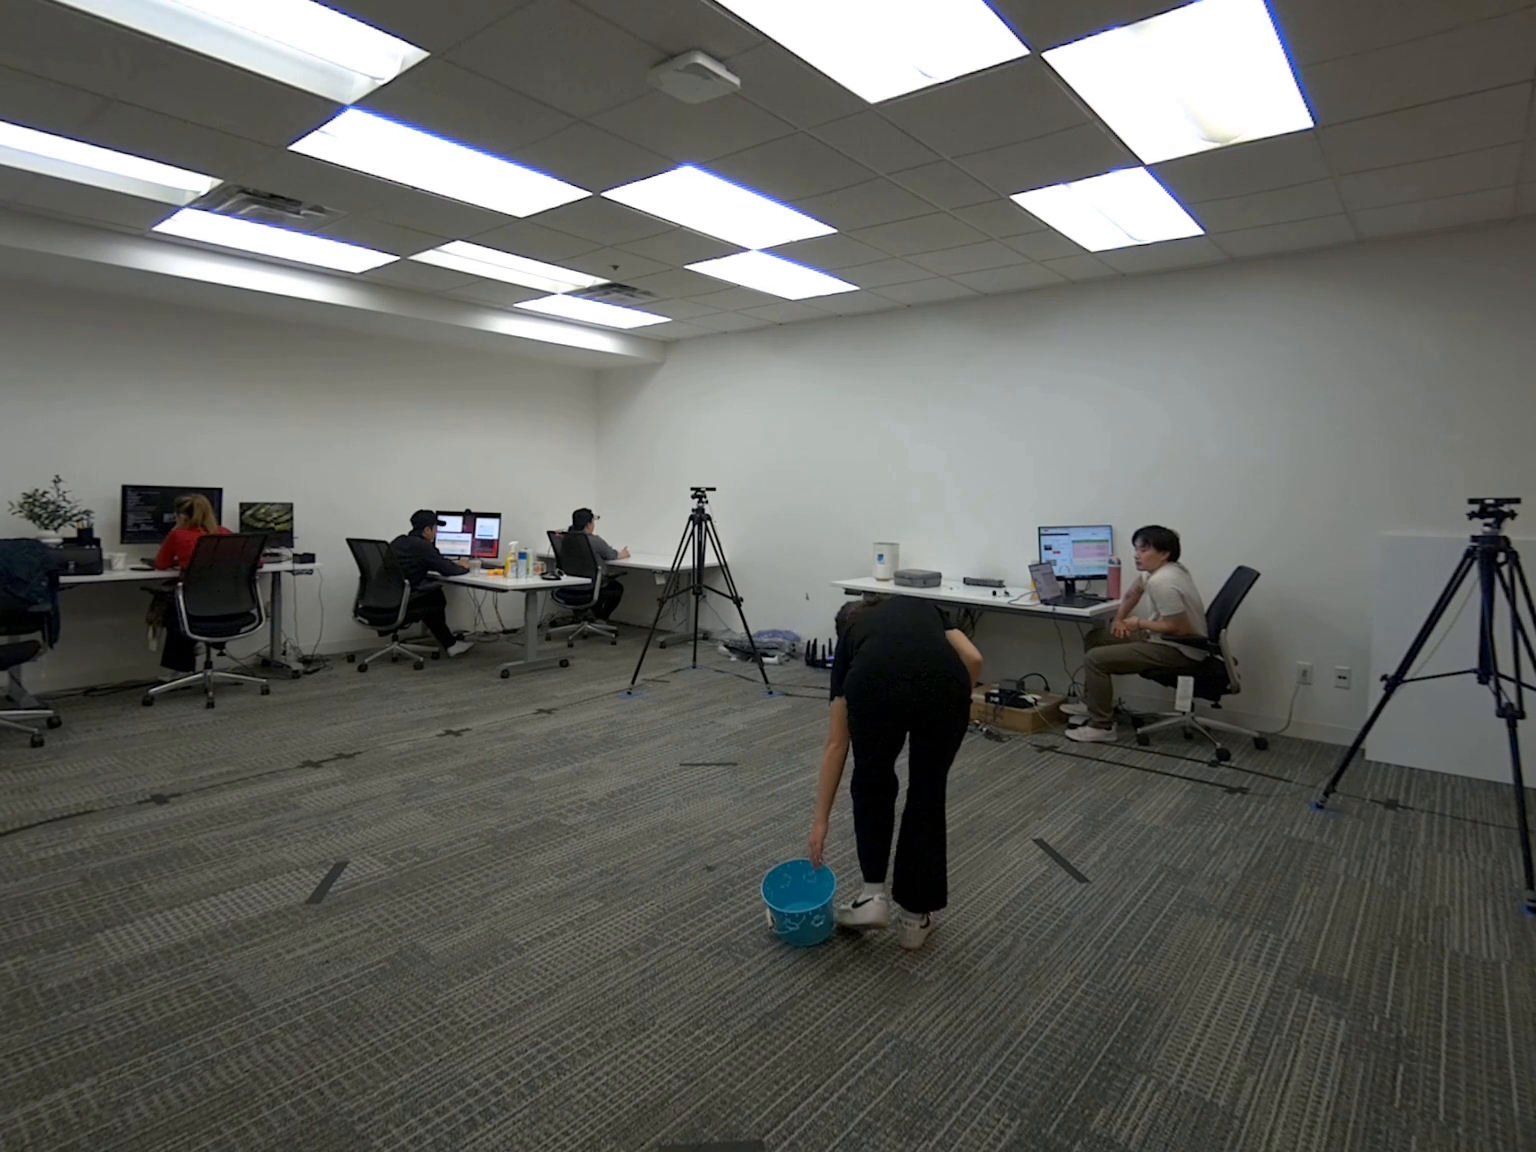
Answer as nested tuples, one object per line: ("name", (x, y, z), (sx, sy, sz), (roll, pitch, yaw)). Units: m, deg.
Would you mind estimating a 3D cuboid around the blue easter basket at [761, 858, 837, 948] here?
("blue easter basket", (0.104, 1.020, 2.644), (0.244, 0.153, 0.248), (-10, 20, 2))
